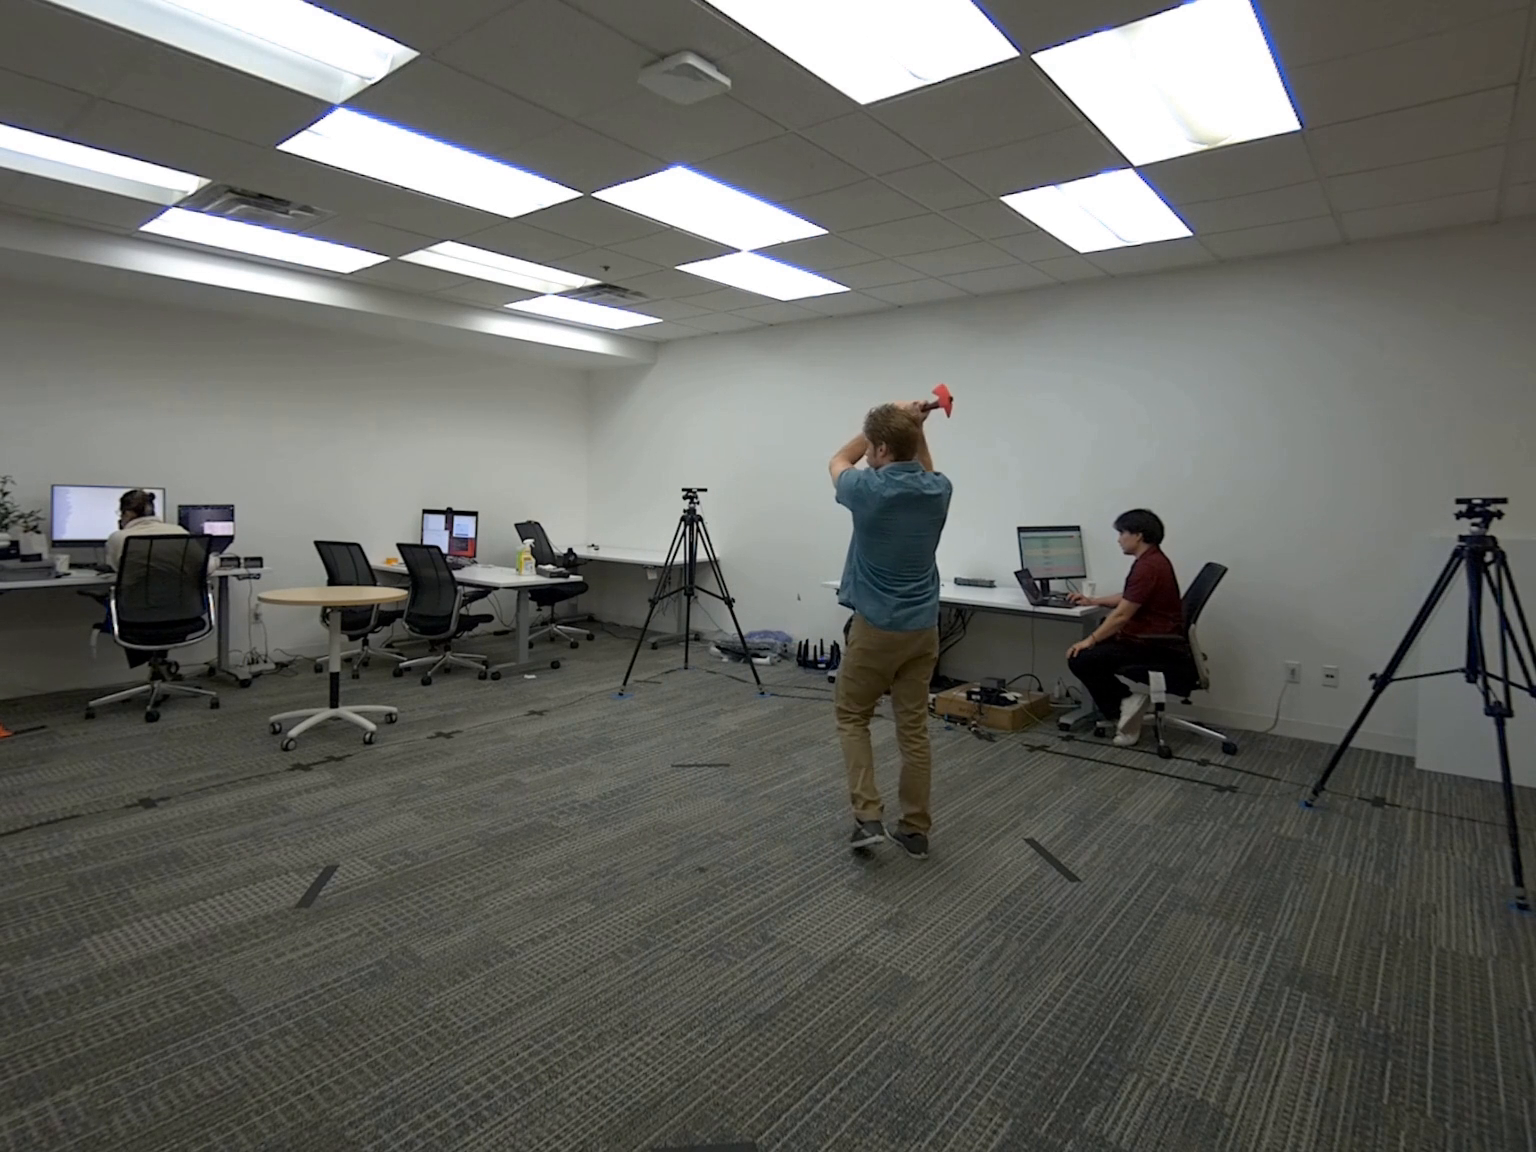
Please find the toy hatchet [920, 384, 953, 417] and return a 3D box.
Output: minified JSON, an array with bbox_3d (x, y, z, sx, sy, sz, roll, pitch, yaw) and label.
[{"bbox_3d":[0.582,-0.684,3.294,0.029,0.130,0.280,-8,15,-42],"label":"toy hatchet"}]
